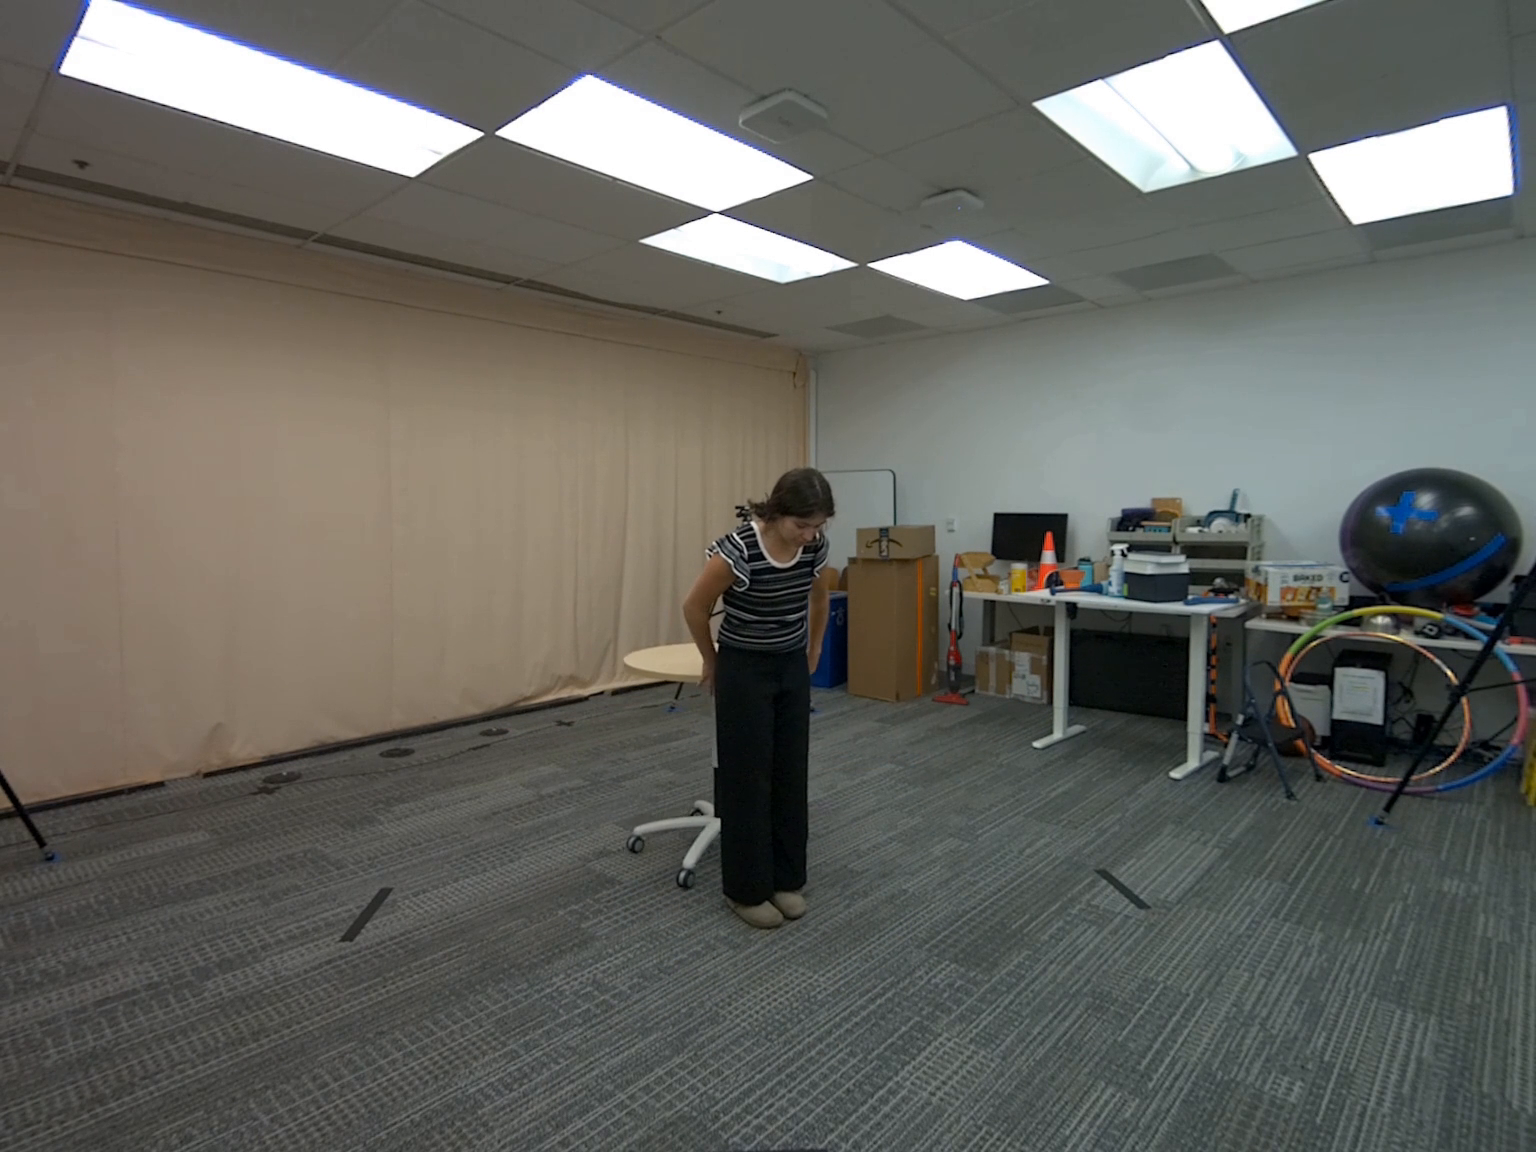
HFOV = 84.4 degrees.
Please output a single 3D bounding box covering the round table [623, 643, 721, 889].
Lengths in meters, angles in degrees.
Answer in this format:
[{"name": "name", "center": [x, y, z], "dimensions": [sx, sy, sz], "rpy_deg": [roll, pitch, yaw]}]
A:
[{"name": "round table", "center": [-0.188, 0.716, 3.371], "dimensions": [0.784, 0.785, 0.788], "rpy_deg": [0, 3, -2]}]
